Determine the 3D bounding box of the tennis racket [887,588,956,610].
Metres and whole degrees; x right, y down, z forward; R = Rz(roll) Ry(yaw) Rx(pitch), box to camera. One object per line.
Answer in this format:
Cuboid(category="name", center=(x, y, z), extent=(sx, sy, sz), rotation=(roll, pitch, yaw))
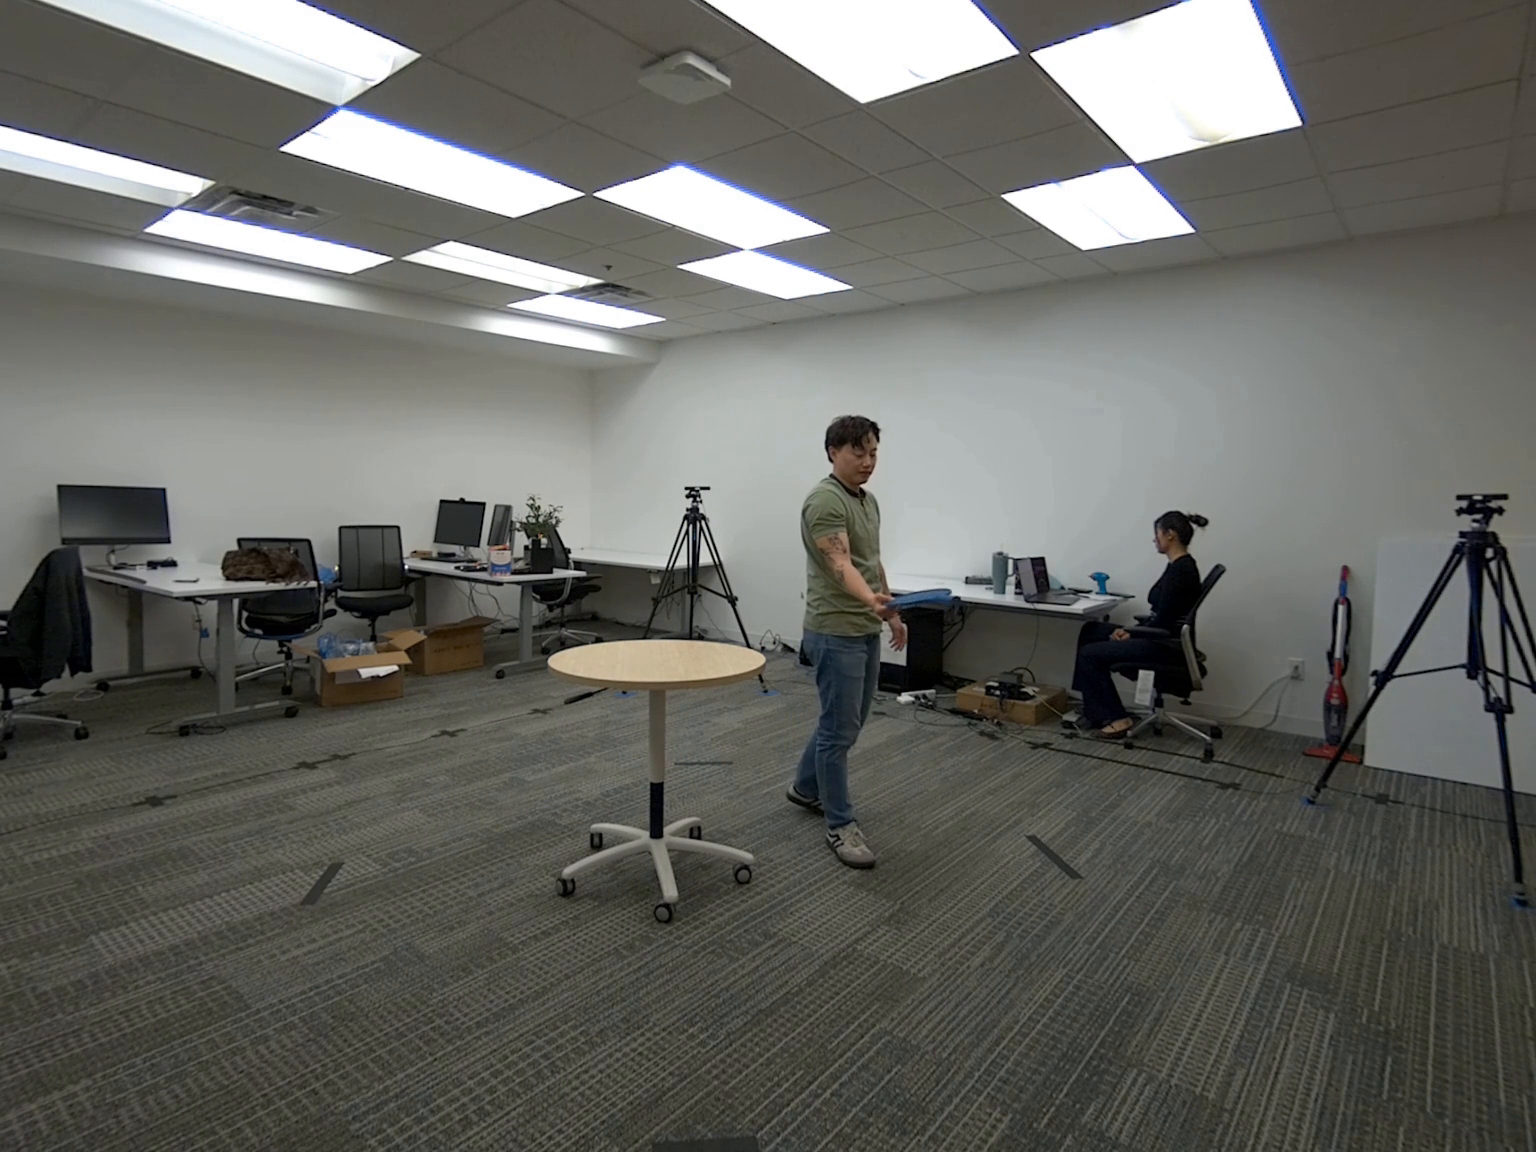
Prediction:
Cuboid(category="tennis racket", center=(0.494, 0.073, 2.728), extent=(0.211, 0.031, 0.442), rotation=(-15, 7, -19))
